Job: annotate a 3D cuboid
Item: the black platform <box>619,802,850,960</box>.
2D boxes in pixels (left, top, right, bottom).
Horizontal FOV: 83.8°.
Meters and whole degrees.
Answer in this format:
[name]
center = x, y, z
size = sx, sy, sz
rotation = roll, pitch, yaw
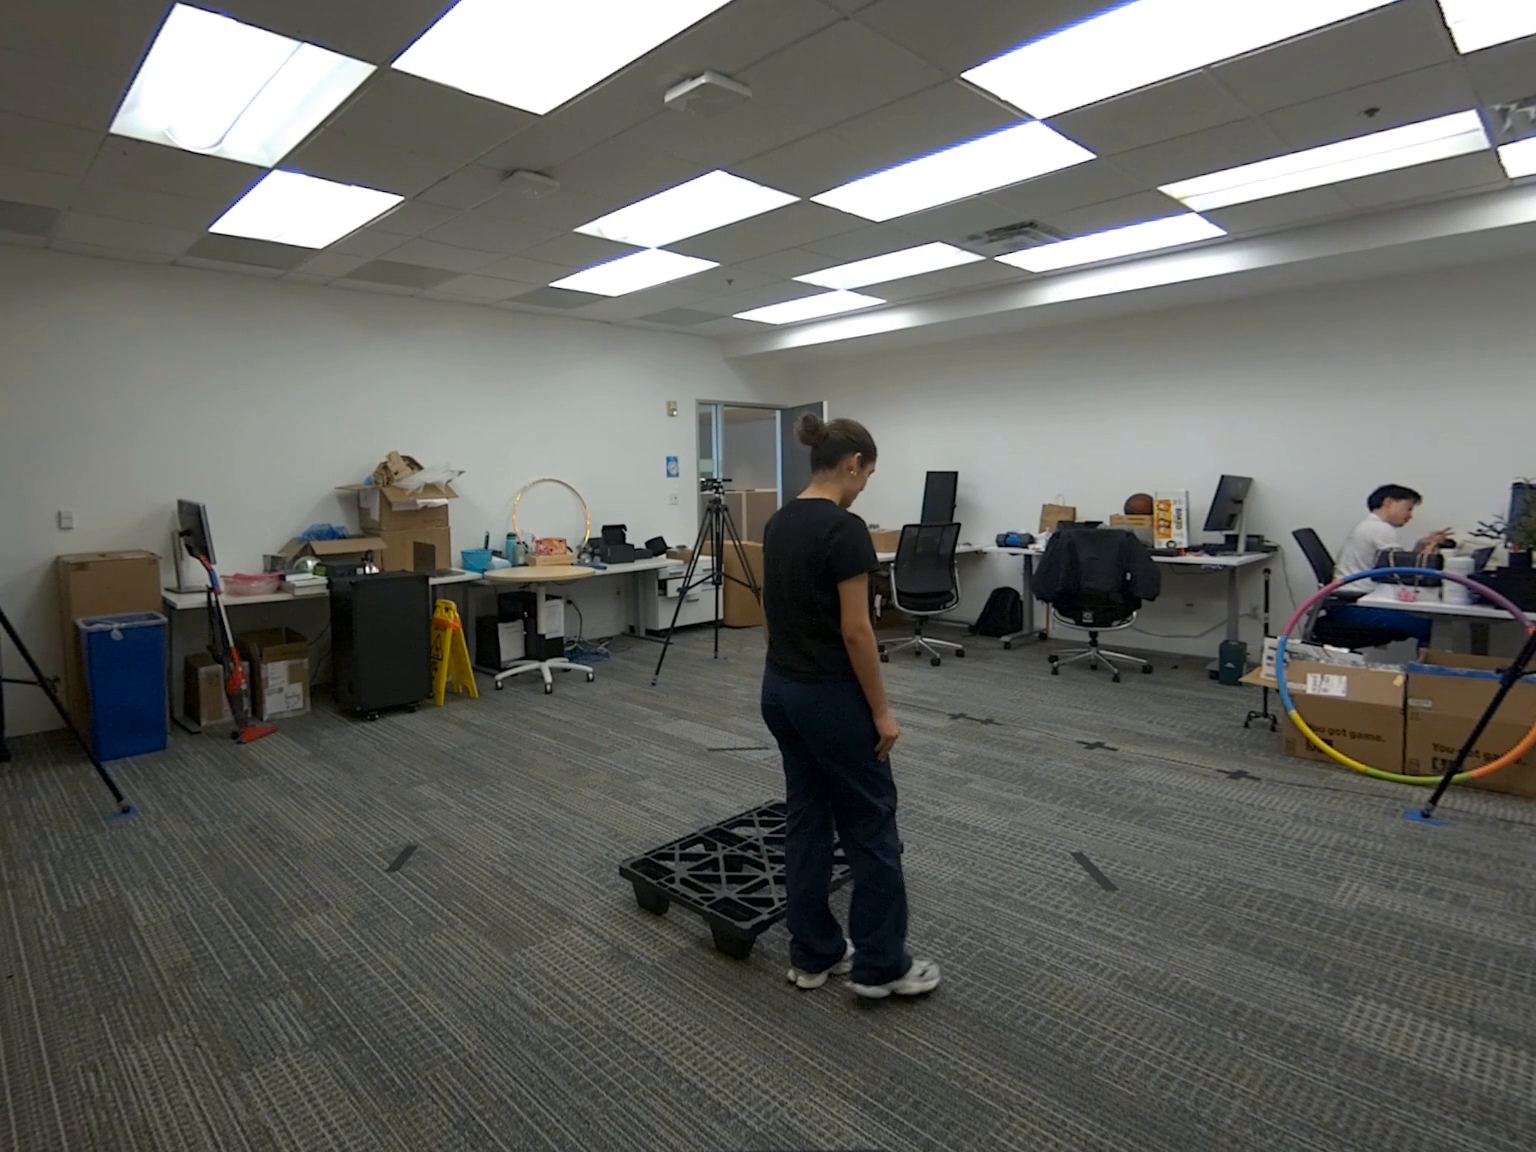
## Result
[black platform]
center = -0.007, 1.004, 2.907
size = 0.624, 0.142, 0.785
rotation = 6, 9, 43
